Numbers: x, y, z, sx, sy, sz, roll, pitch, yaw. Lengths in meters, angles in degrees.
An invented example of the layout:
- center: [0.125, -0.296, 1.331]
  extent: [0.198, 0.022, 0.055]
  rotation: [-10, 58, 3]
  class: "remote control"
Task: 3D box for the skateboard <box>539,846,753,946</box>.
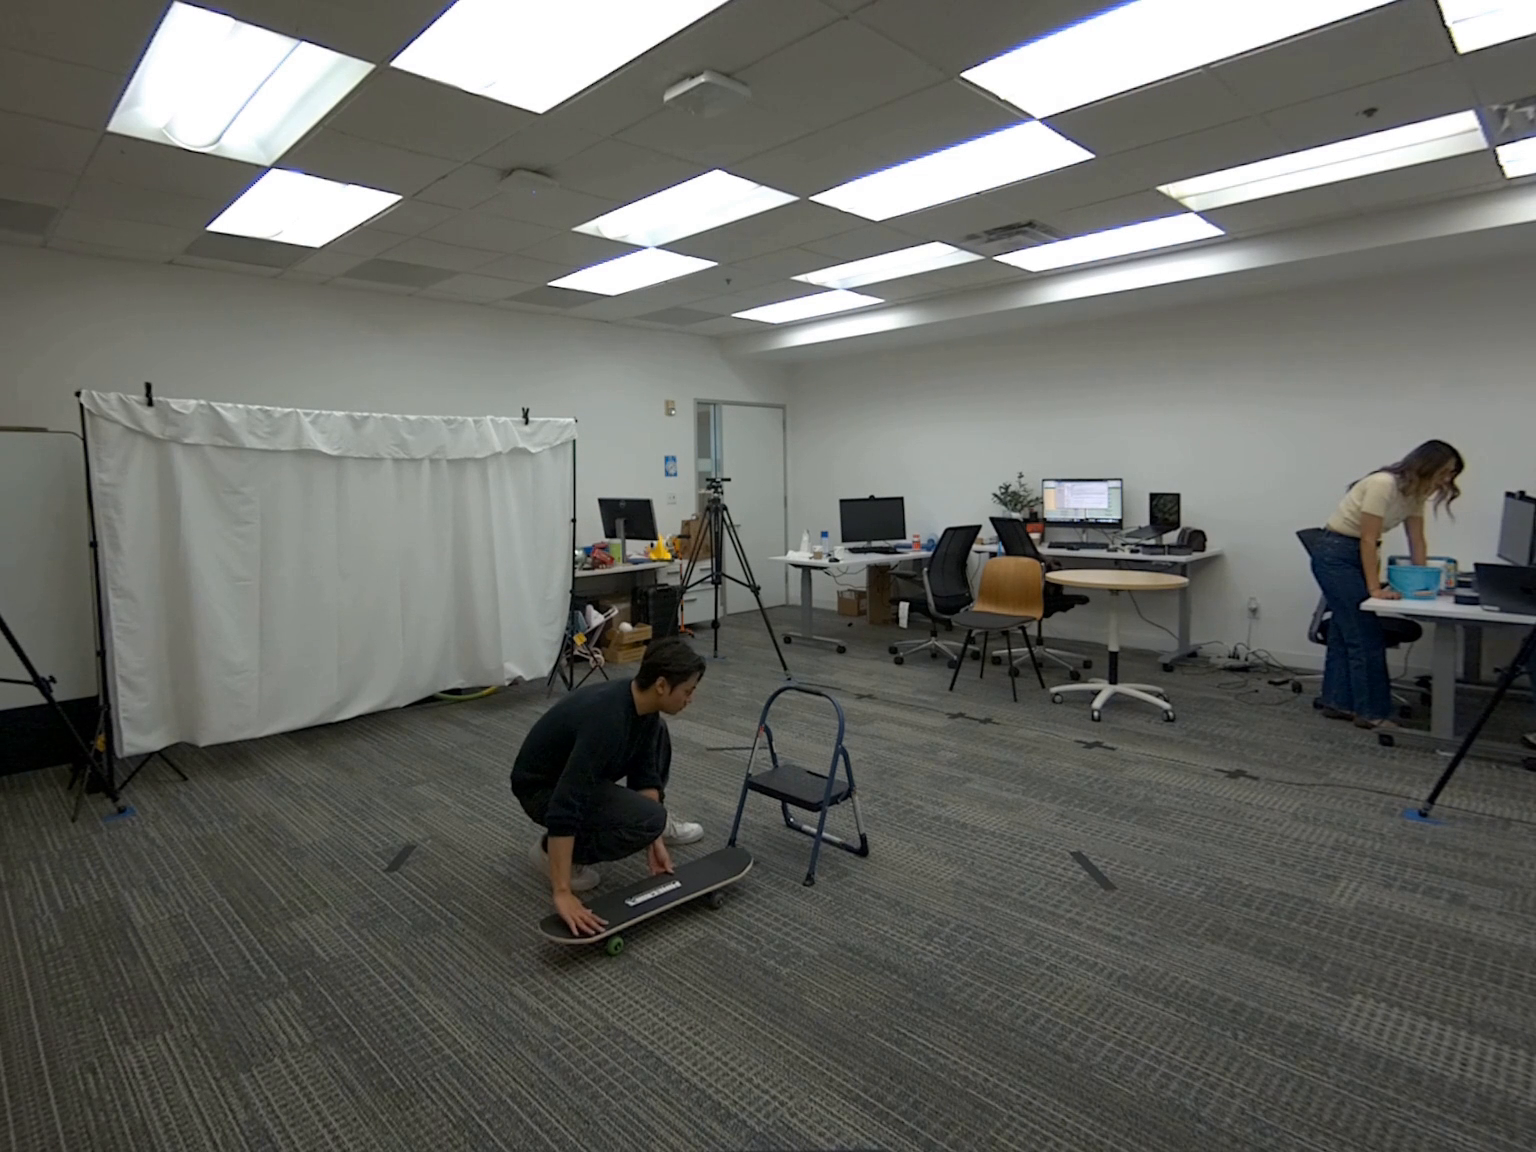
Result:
- center: [-0.362, 1.037, 2.722]
  extent: [0.765, 0.110, 0.199]
  rotation: [-8, 9, -42]
  class: "skateboard"
